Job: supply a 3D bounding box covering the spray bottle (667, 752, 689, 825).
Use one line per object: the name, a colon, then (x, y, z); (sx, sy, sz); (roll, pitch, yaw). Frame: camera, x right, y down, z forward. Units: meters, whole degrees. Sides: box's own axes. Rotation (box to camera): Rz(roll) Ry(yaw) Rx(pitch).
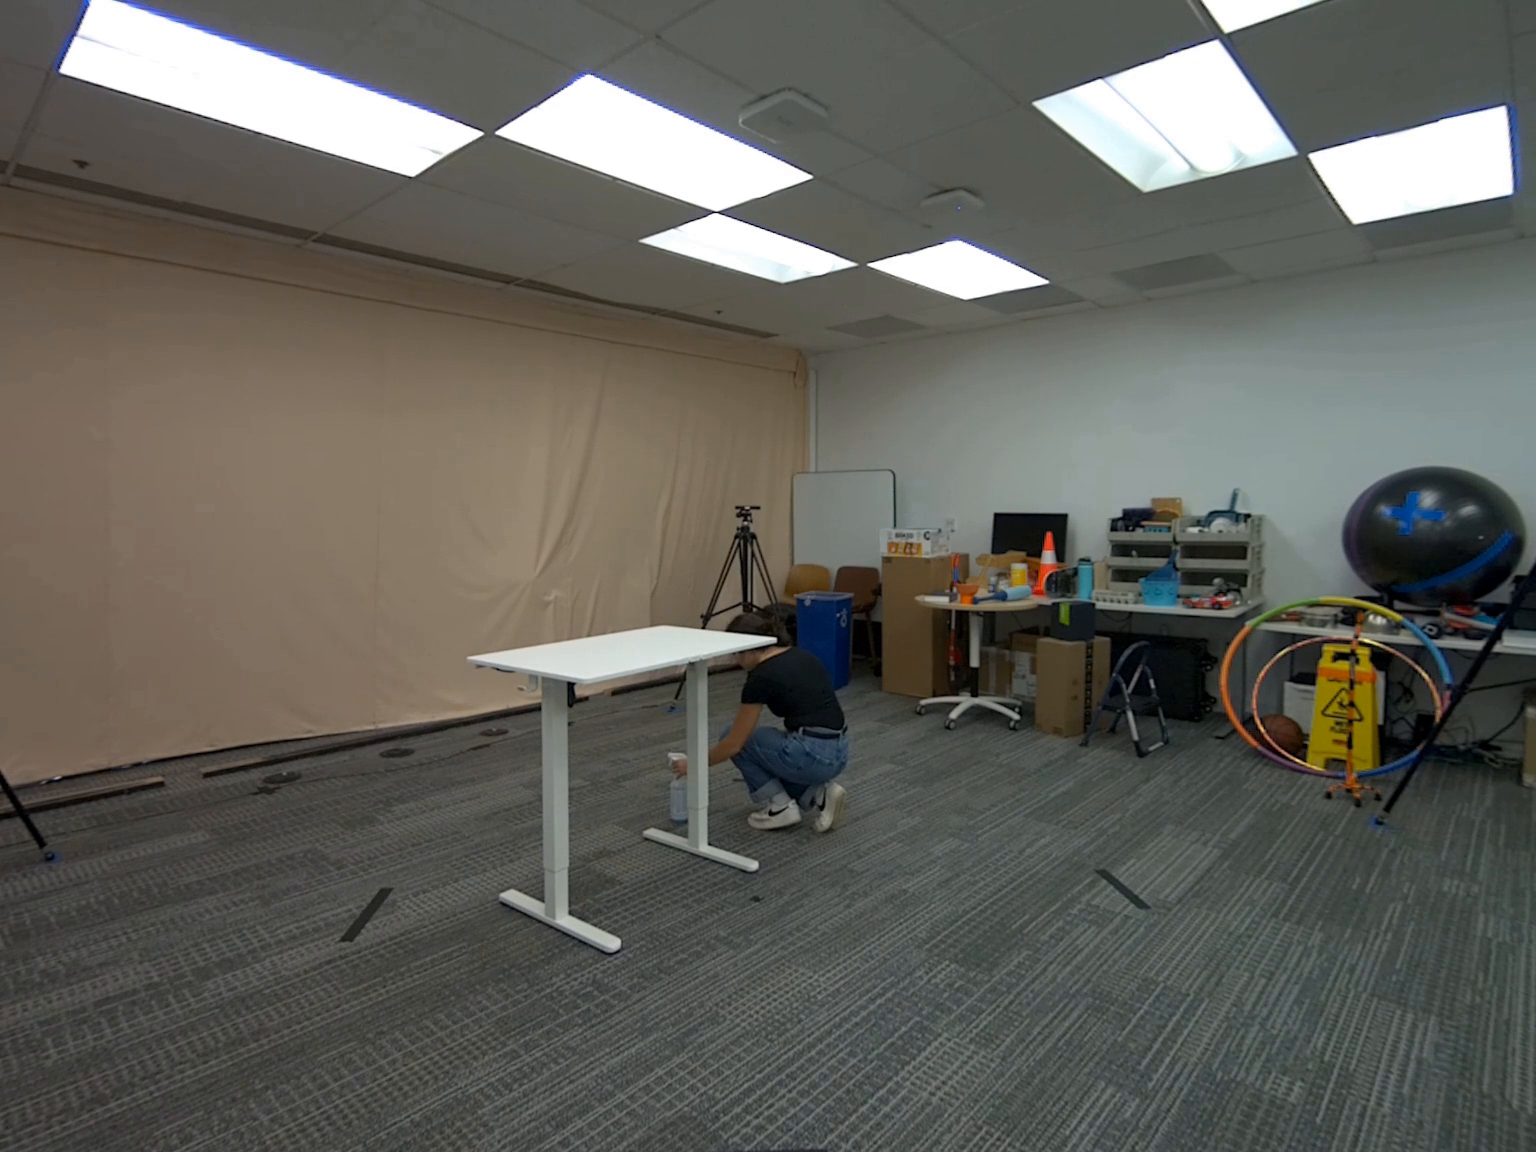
spray bottle: (-0.390, 0.938, 3.746); (0.092, 0.297, 0.085); (-1, 2, 23)
